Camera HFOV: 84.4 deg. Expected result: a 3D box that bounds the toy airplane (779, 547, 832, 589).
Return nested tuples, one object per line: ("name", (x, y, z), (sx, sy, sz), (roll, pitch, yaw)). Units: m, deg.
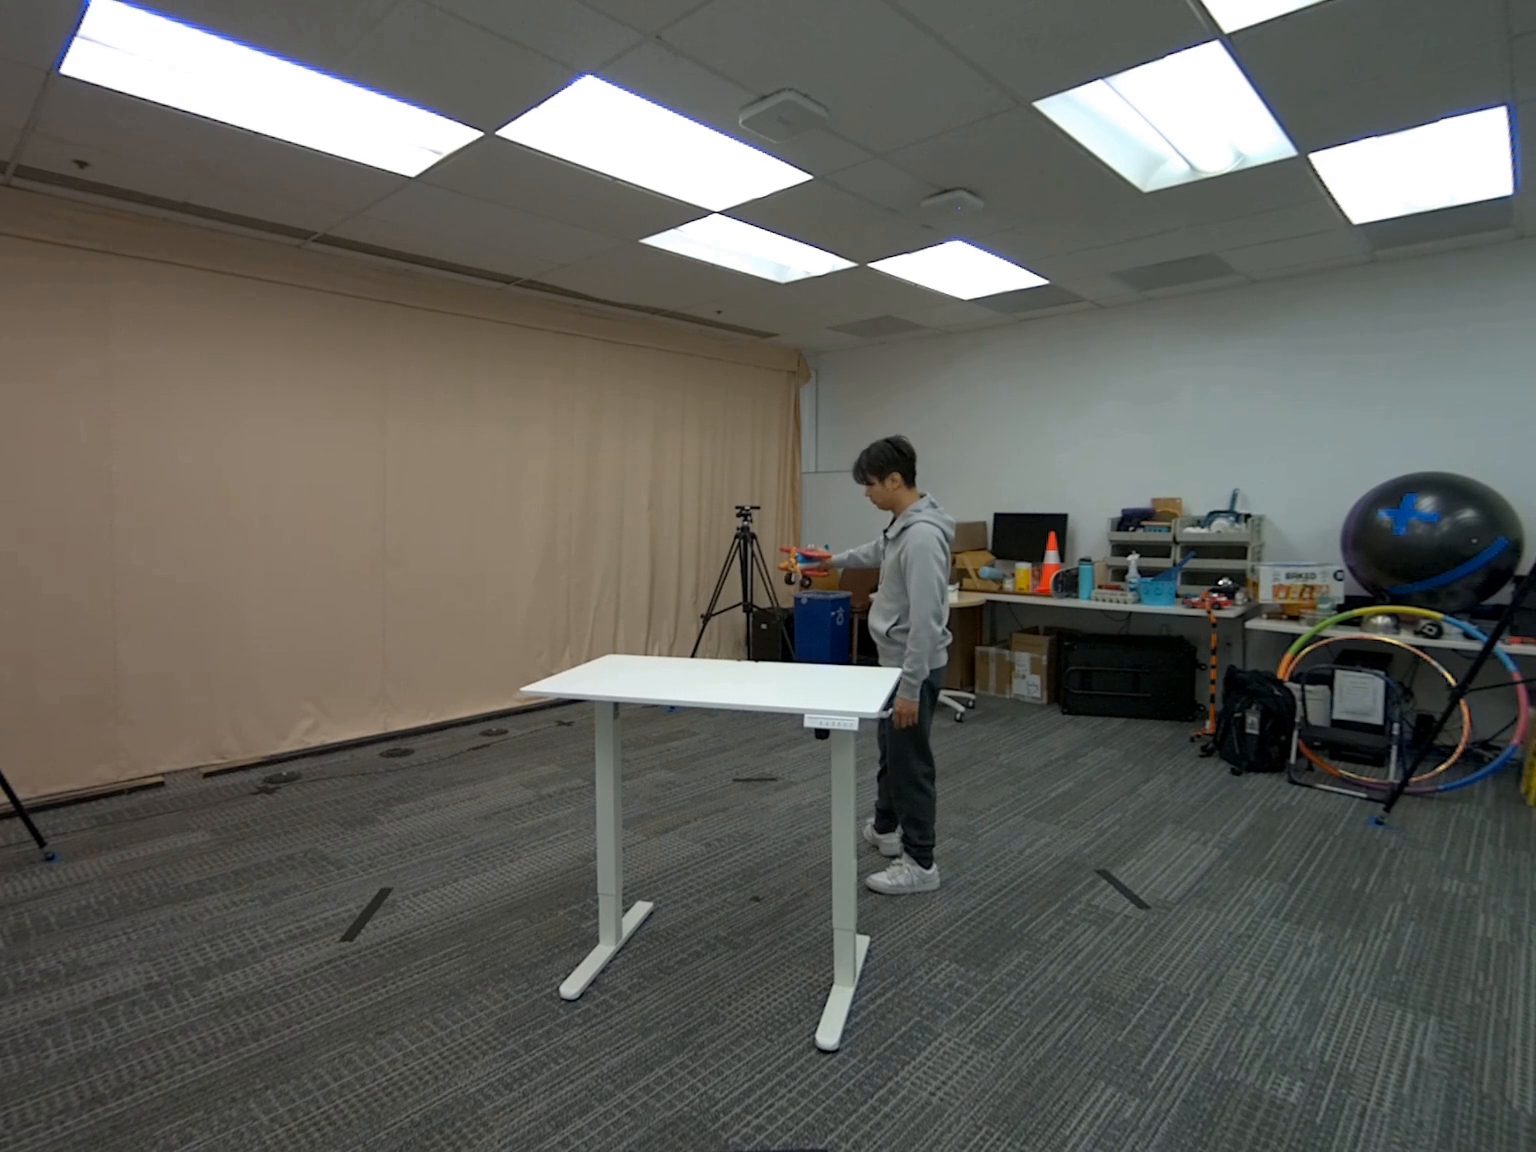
("toy airplane", (0.175, -0.058, 3.642), (0.256, 0.154, 0.258), (0, 20, 16))
